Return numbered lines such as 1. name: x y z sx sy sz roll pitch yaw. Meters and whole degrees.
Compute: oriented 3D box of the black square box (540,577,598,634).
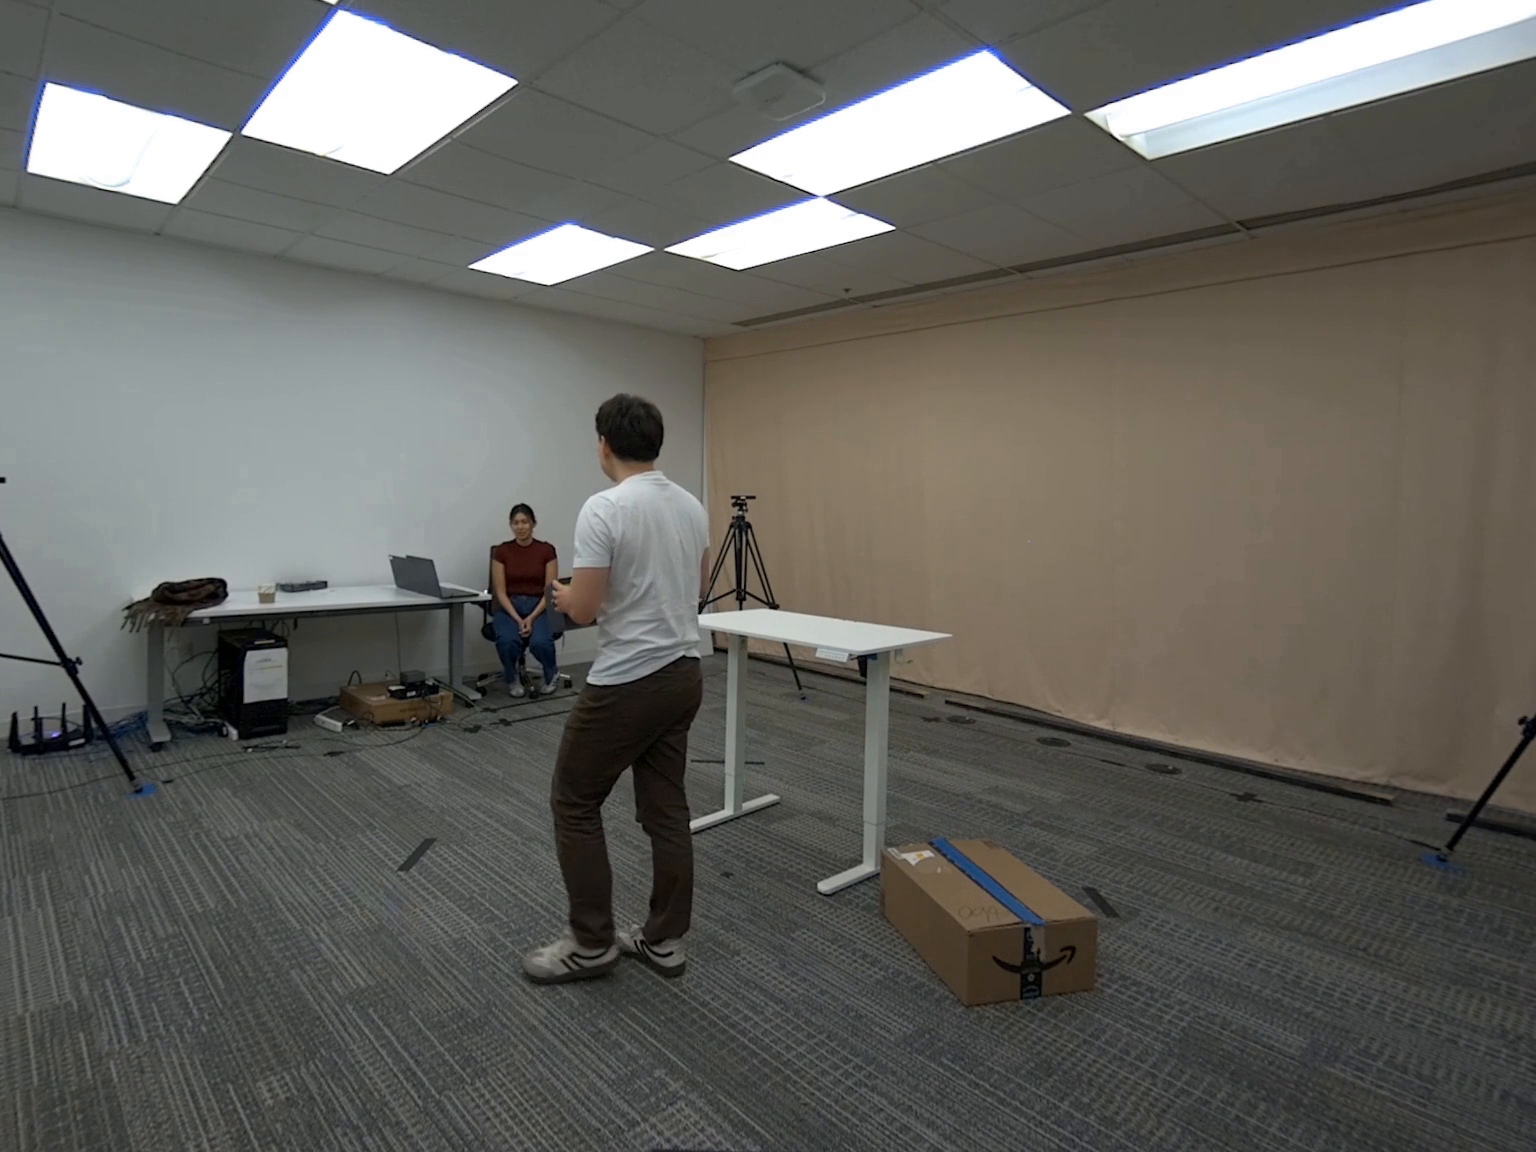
1. black square box: -0.590 0.085 2.710 0.224 0.156 0.219 -7 -4 -23
